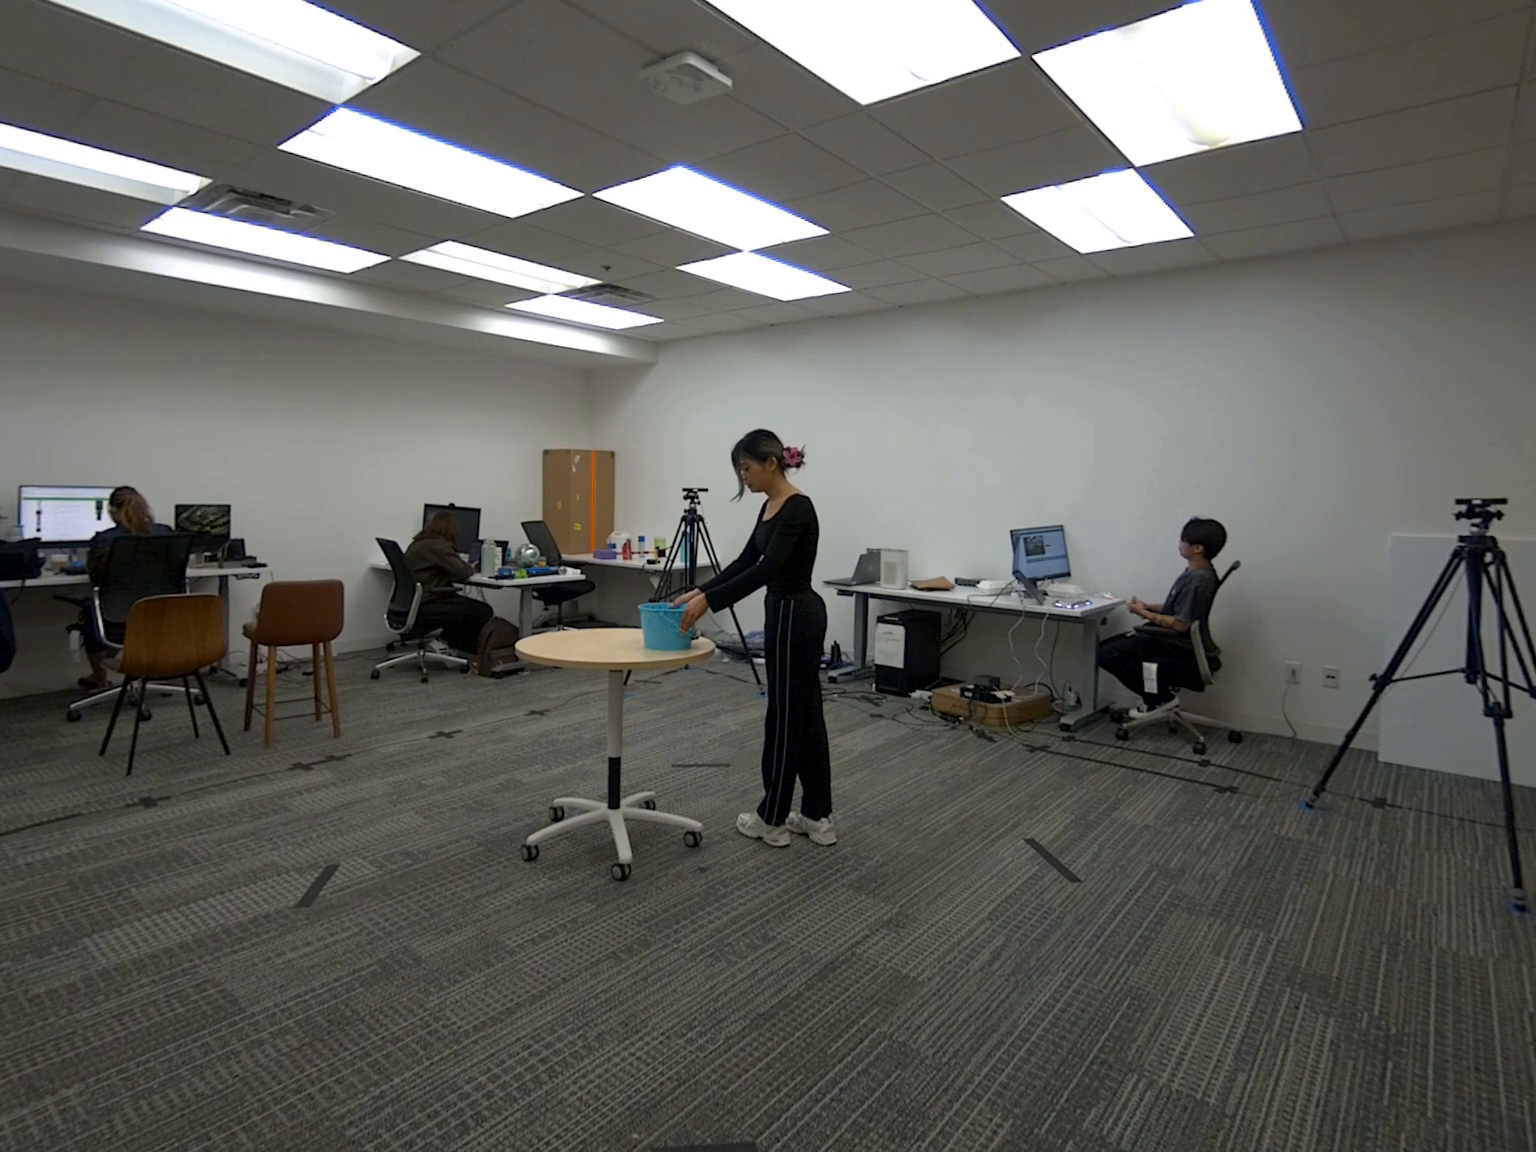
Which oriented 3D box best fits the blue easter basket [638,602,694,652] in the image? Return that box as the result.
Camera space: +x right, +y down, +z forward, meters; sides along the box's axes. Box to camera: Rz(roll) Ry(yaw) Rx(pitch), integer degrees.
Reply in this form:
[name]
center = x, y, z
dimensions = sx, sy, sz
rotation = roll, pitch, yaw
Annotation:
[blue easter basket]
center = -0.392, 0.194, 3.261
dimensions = 0.243, 0.155, 0.244
rotation = 0, 4, -2
